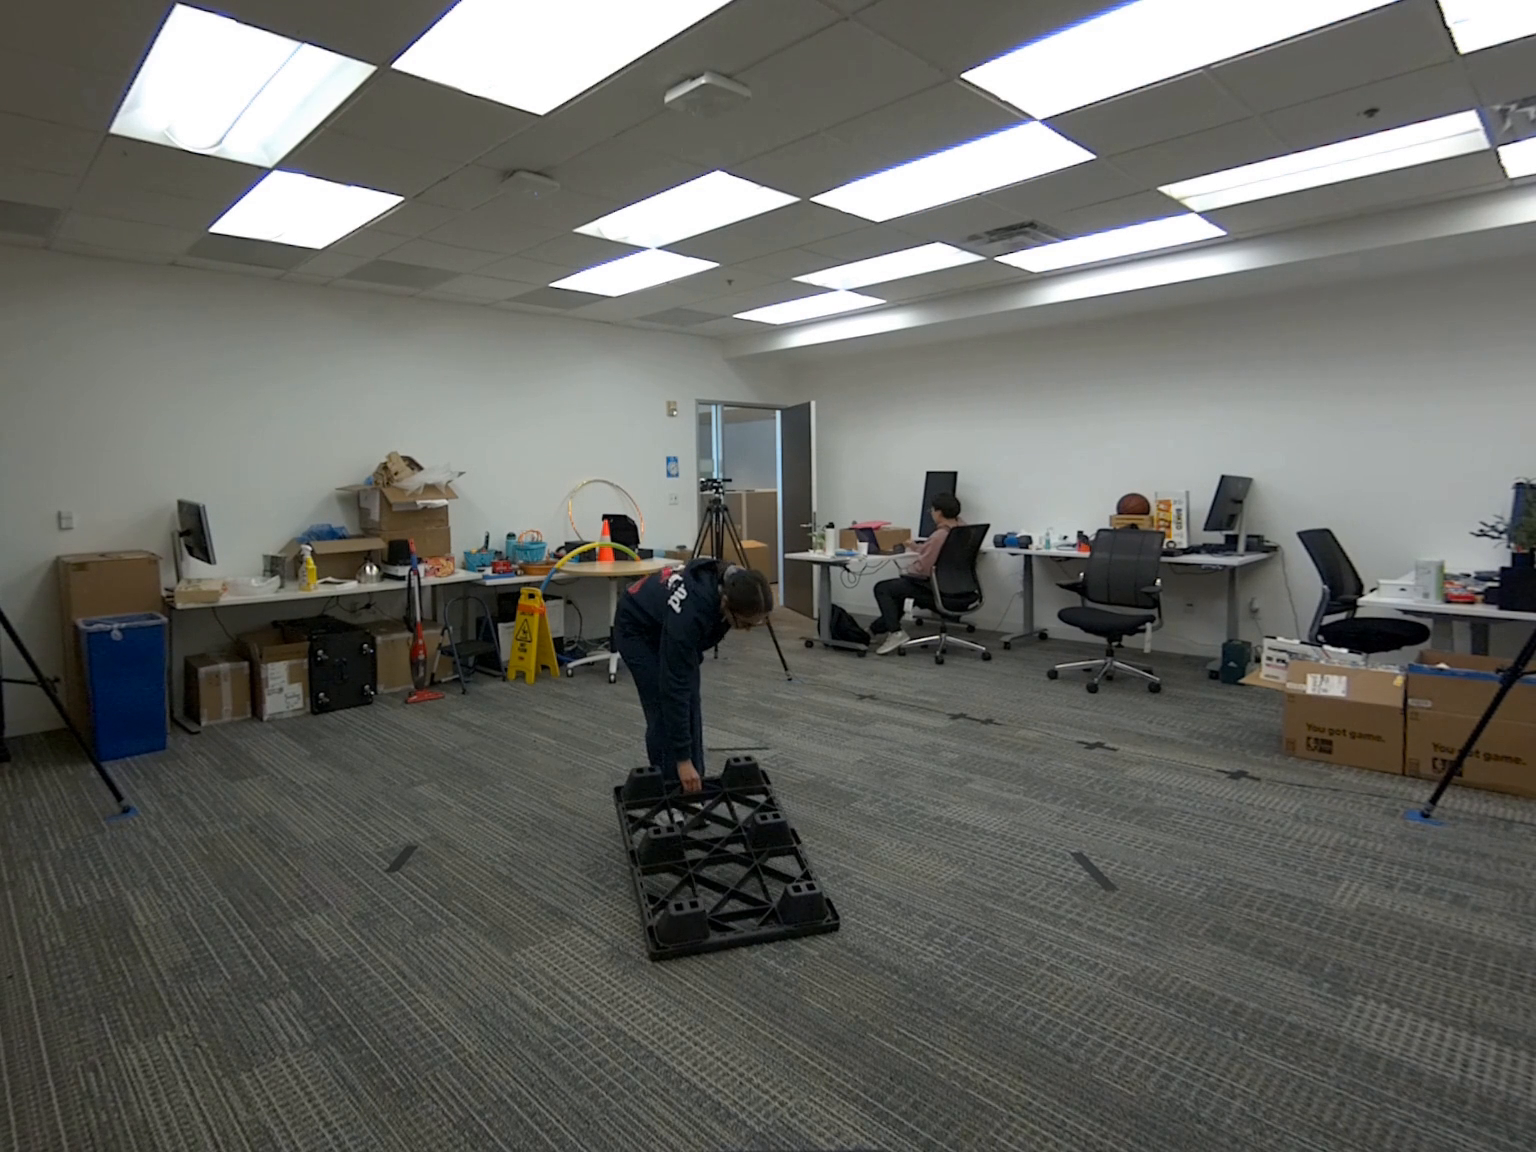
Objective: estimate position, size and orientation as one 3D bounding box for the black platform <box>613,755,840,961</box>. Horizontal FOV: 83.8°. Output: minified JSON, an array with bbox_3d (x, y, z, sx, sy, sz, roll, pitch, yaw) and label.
[{"bbox_3d":[-0.169,0.897,2.892,0.596,0.141,0.831,-4,23,-16],"label":"black platform"}]
